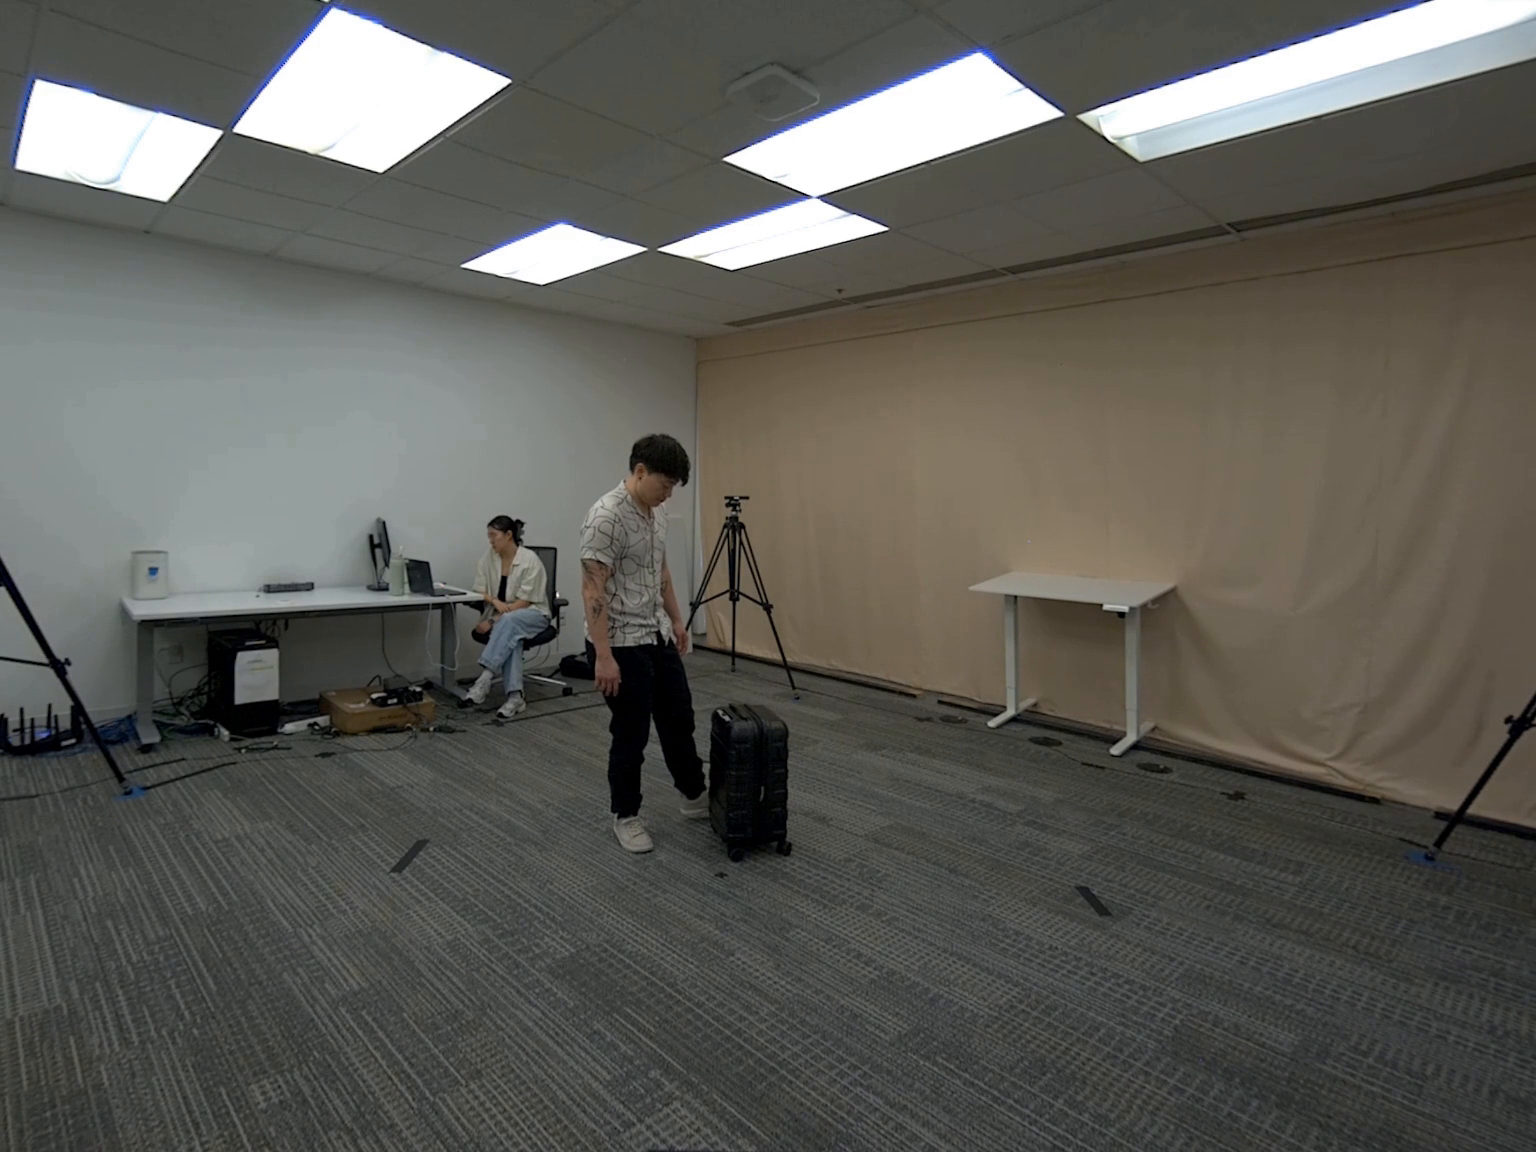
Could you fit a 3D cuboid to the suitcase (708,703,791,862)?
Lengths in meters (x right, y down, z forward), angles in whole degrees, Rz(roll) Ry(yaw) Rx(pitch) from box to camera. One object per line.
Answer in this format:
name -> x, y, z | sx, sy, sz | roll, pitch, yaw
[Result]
suitcase -> -0.093, 0.800, 3.383 | 0.245, 0.548, 0.381 | 1, 3, -19
